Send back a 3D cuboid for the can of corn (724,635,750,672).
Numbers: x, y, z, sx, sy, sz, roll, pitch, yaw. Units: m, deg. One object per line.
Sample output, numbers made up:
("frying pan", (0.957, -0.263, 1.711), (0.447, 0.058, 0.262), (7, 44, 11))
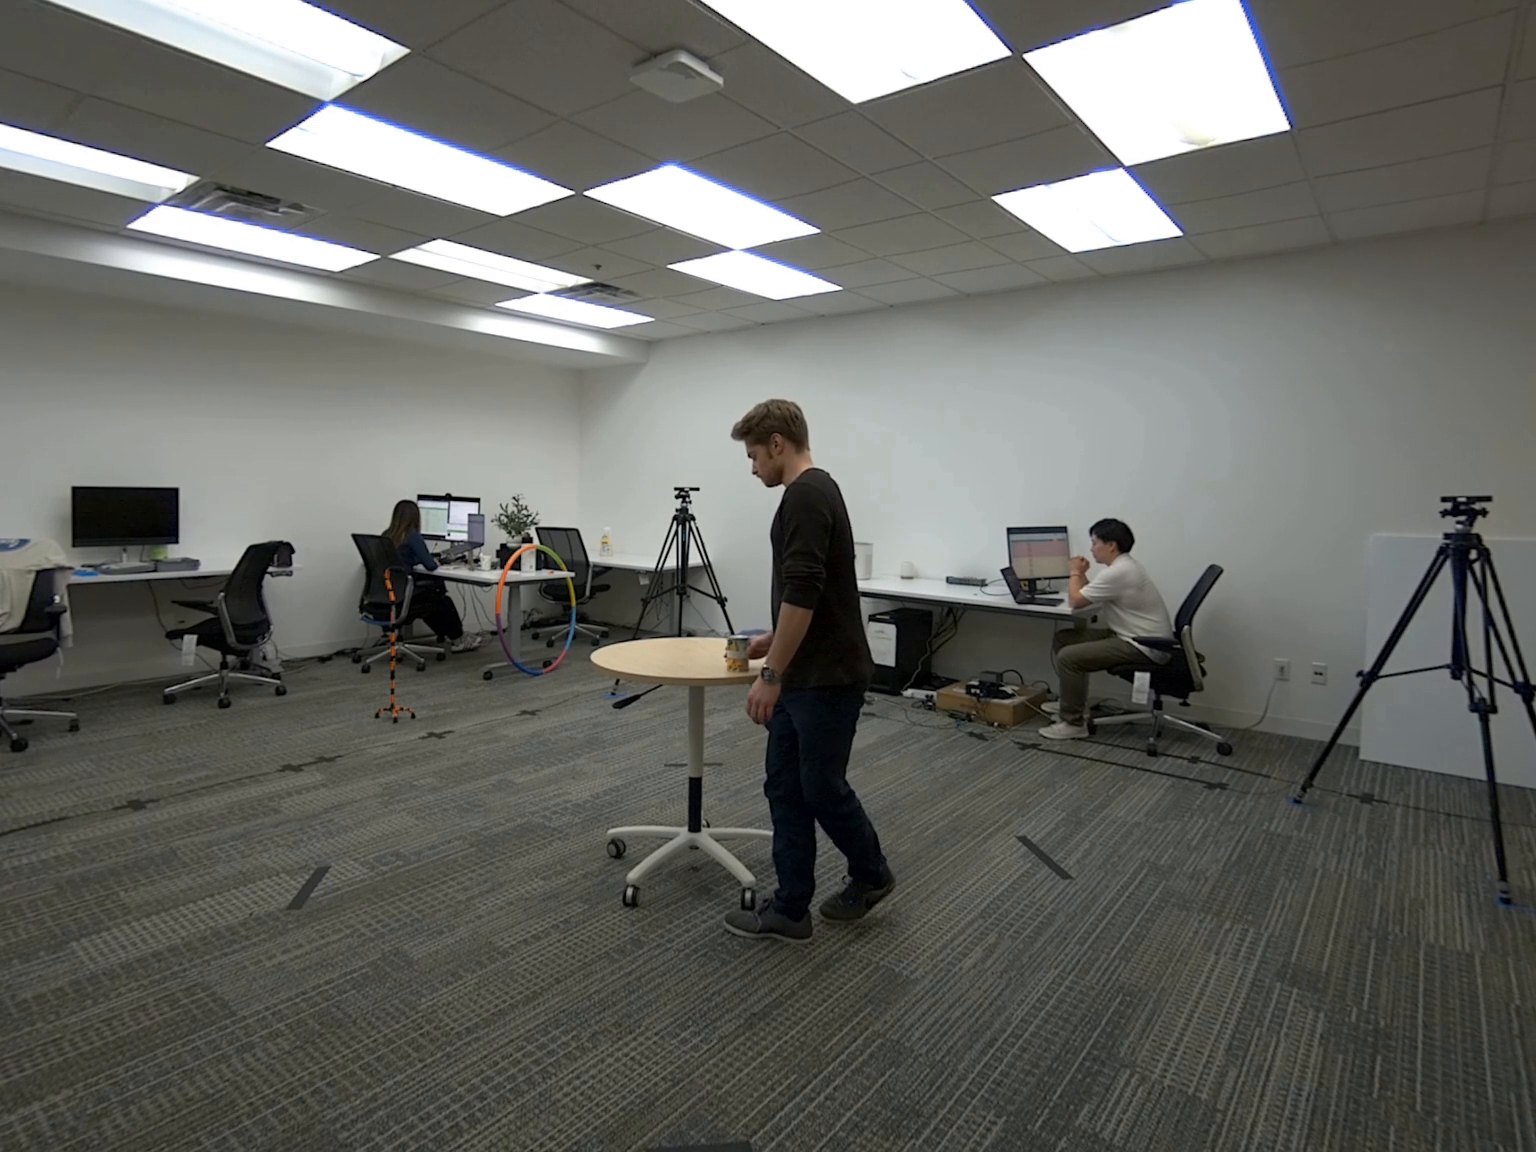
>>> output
("can of corn", (-0.105, 0.255, 2.833), (0.074, 0.111, 0.074), (5, 2, -2))
